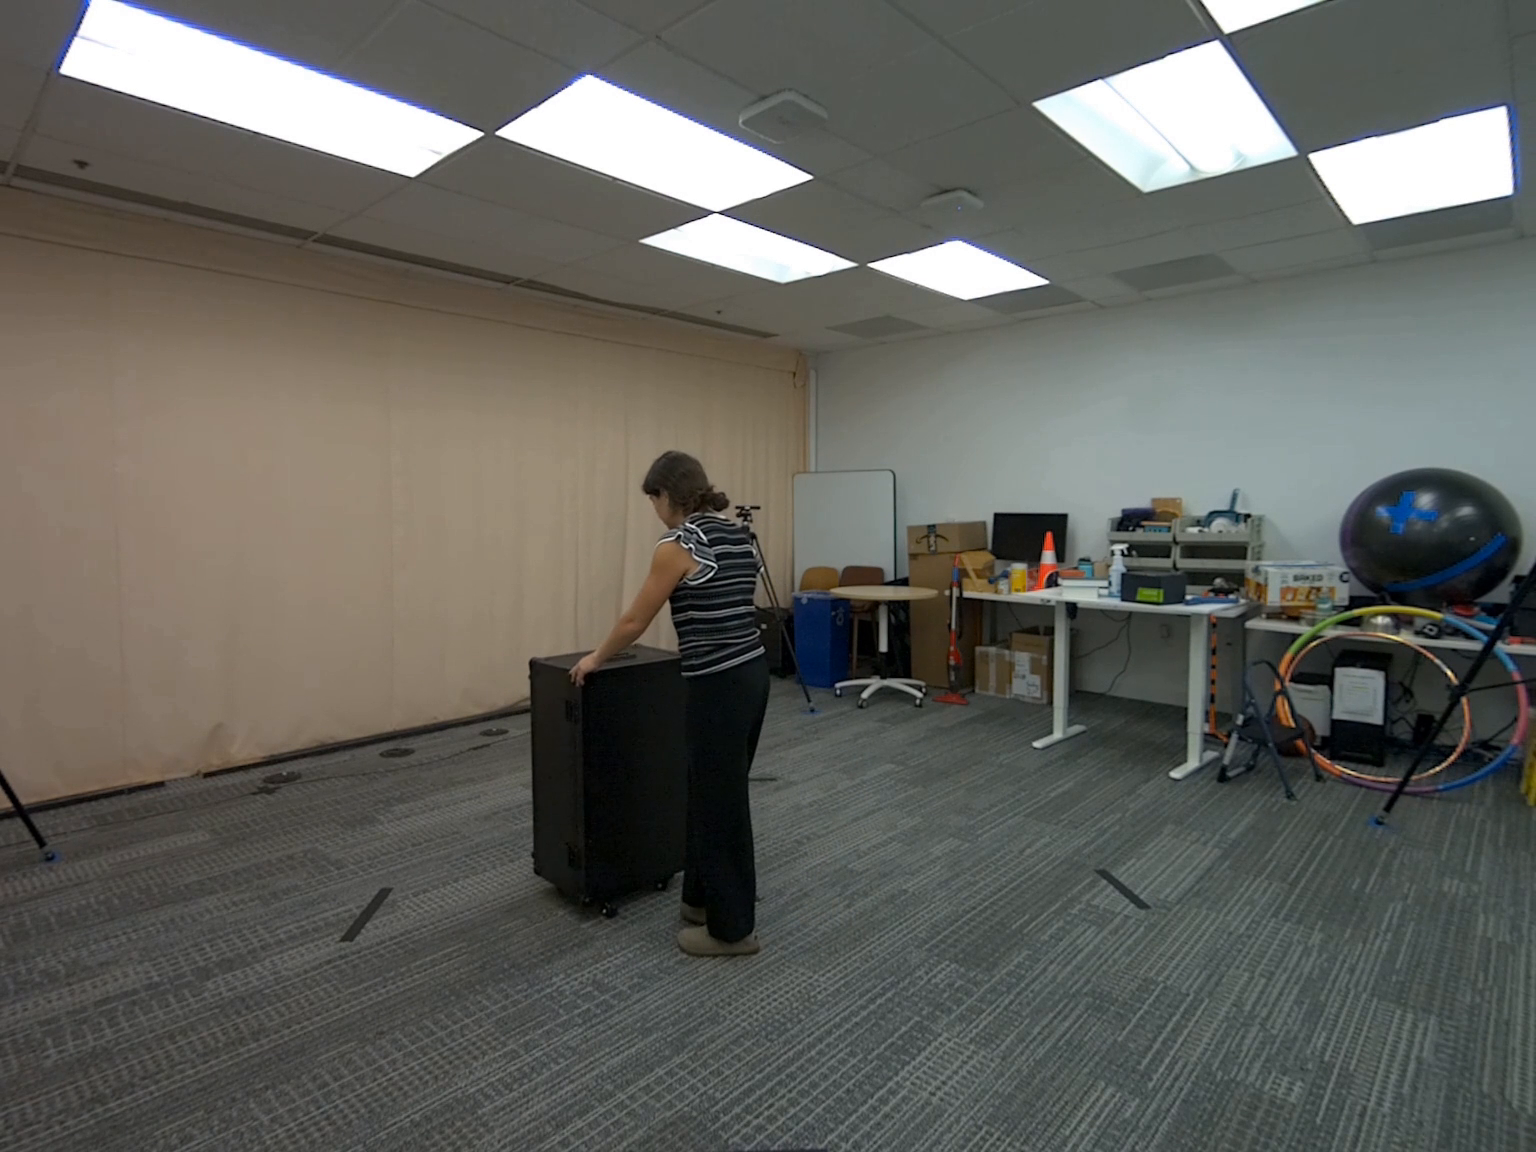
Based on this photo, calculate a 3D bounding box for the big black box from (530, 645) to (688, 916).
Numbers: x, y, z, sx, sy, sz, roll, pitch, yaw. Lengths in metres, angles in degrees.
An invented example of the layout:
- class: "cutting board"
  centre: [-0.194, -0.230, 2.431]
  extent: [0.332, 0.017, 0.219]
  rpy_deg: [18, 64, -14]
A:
- class: "big black box"
  centre: [-0.576, 0.720, 3.066]
  extent: [0.505, 0.860, 0.409]
  rpy_deg: [-3, 2, -43]
